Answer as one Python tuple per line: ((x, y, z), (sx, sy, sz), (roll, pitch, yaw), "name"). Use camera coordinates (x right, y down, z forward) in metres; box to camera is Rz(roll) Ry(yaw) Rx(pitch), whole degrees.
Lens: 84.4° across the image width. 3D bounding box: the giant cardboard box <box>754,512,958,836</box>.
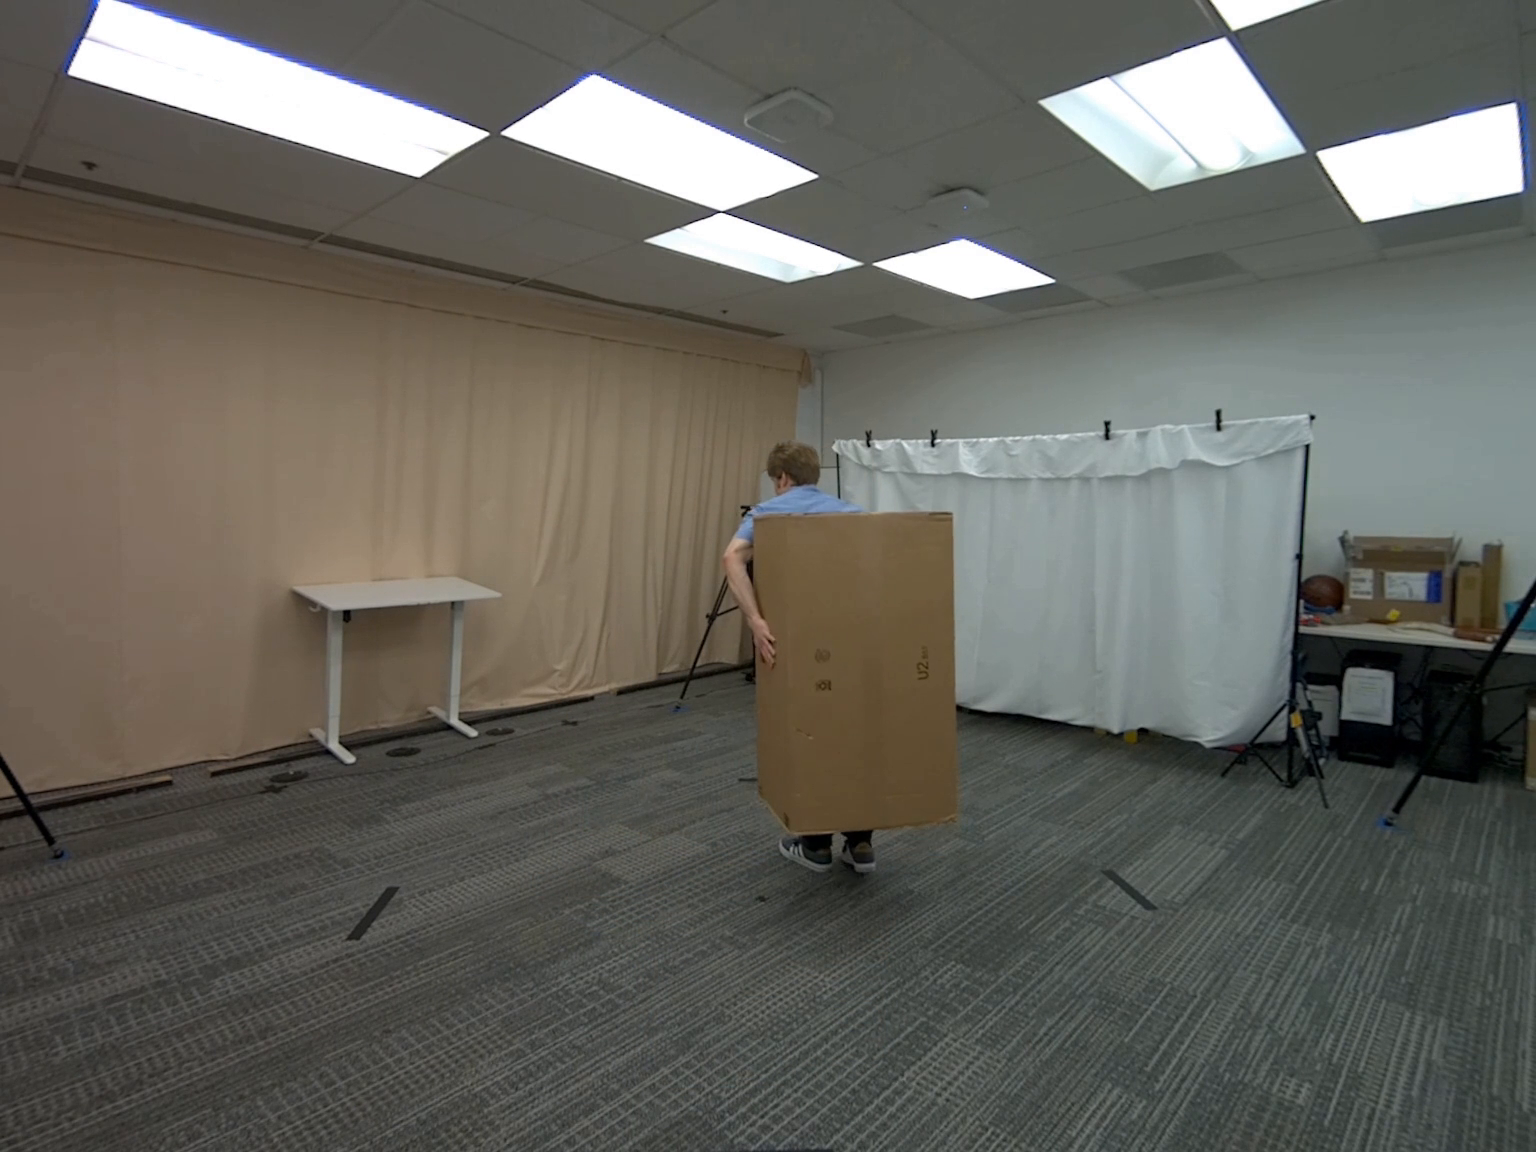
((0.293, 0.300, 2.898), (0.576, 1.025, 0.454), (-1, 3, -14), "giant cardboard box")
